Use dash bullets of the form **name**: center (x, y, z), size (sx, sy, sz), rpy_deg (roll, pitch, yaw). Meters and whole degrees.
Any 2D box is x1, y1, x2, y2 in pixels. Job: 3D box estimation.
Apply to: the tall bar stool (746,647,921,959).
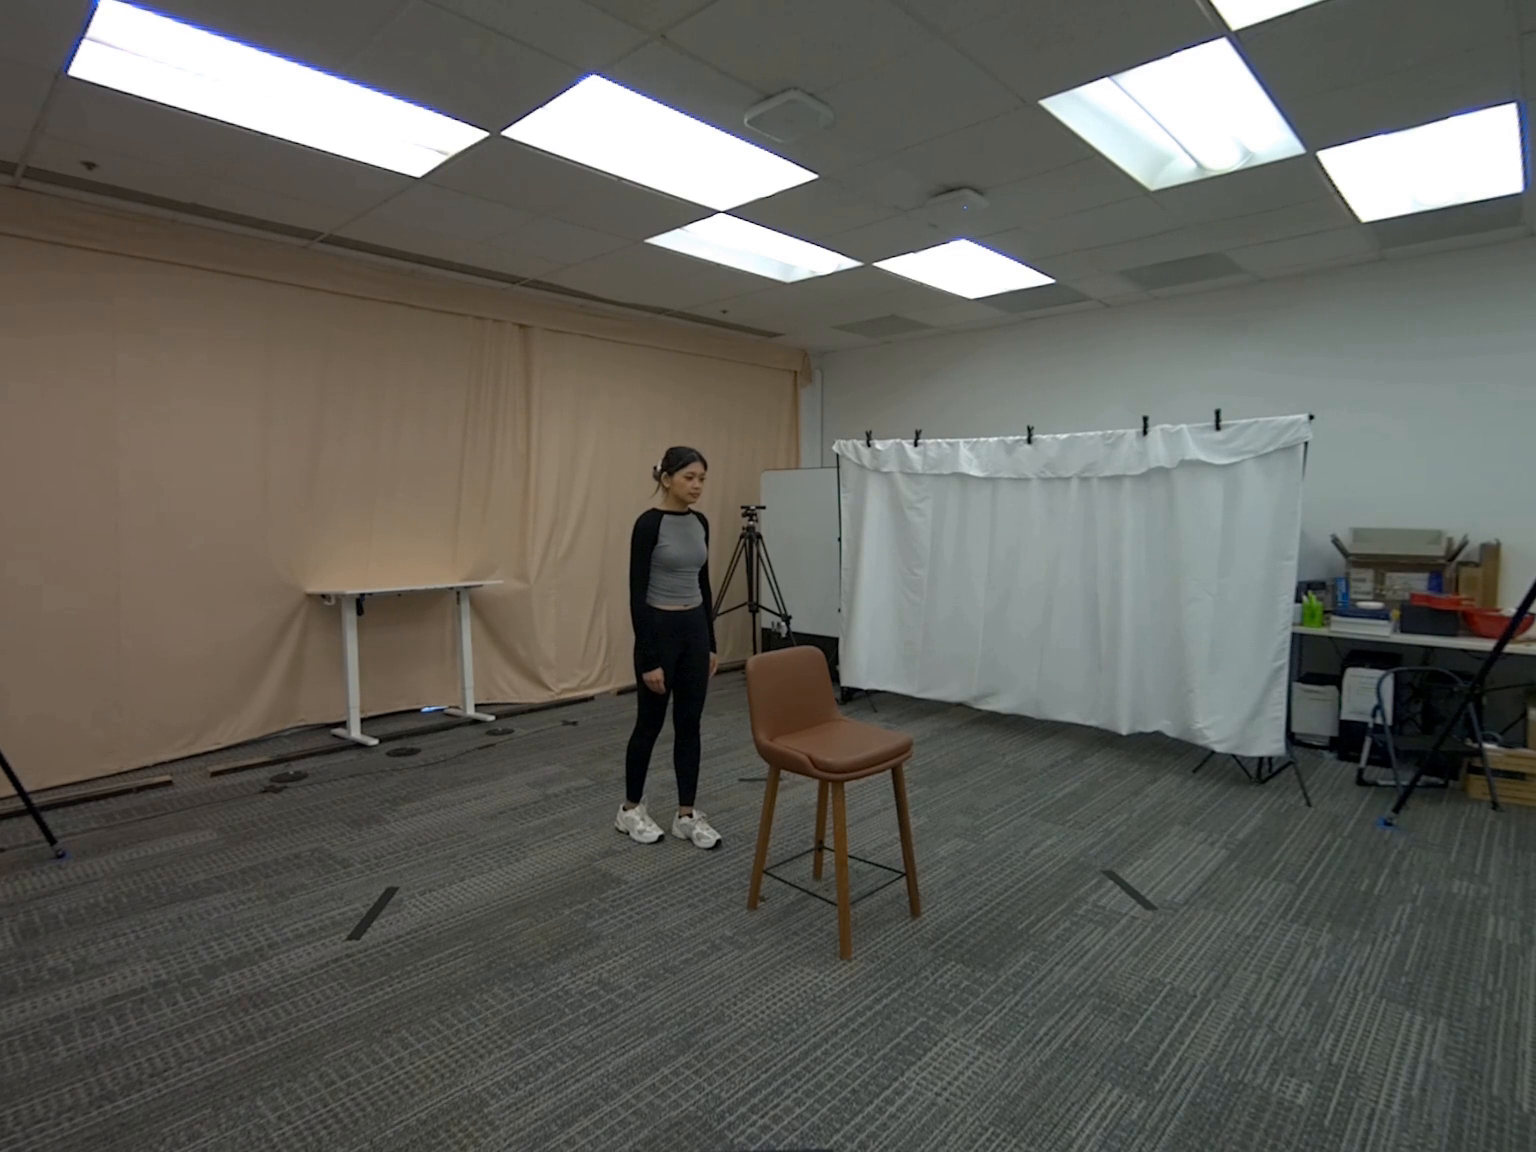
- **tall bar stool**: center (0.217, 0.720, 2.856), size (0.442, 0.888, 0.483), rpy_deg (-4, 3, -44)
